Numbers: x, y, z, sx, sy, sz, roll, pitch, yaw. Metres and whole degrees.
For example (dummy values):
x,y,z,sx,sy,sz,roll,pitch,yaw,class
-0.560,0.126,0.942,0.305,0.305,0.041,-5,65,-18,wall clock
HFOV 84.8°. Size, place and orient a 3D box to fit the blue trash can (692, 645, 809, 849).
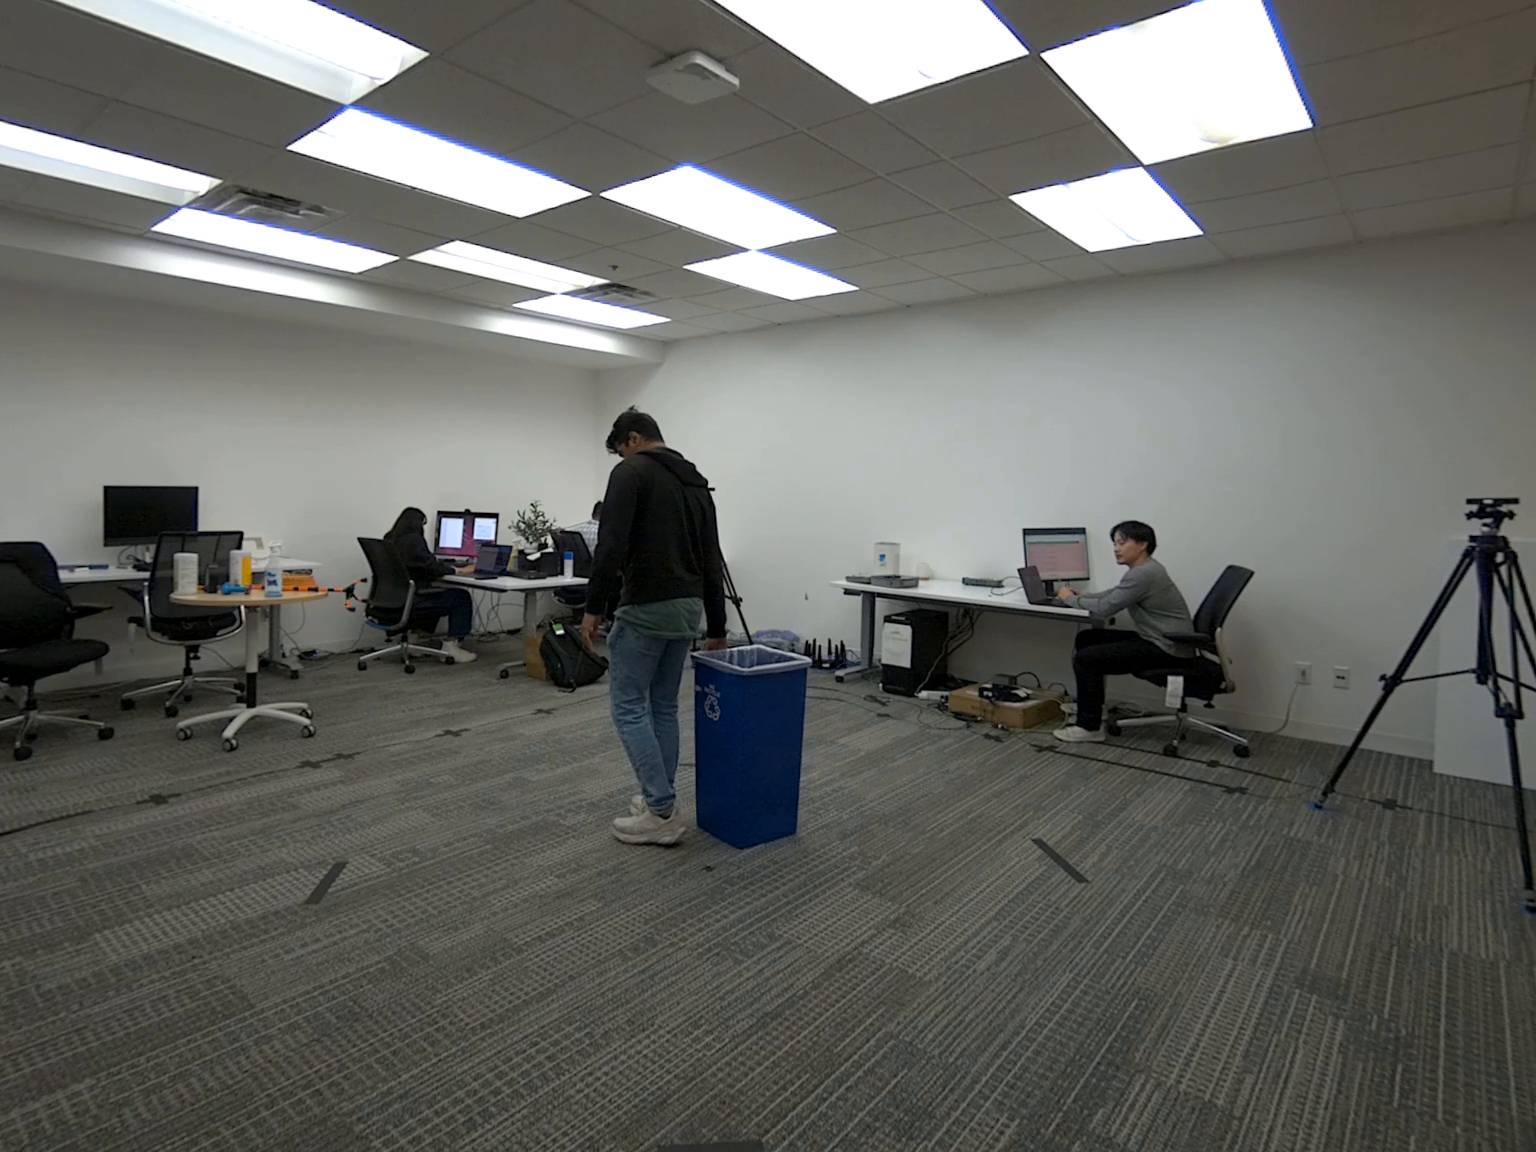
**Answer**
x,y,z,sx,sy,sz,roll,pitch,yaw,class
-0.088,0.678,3.447,0.362,0.711,0.391,-1,4,-41,blue trash can
